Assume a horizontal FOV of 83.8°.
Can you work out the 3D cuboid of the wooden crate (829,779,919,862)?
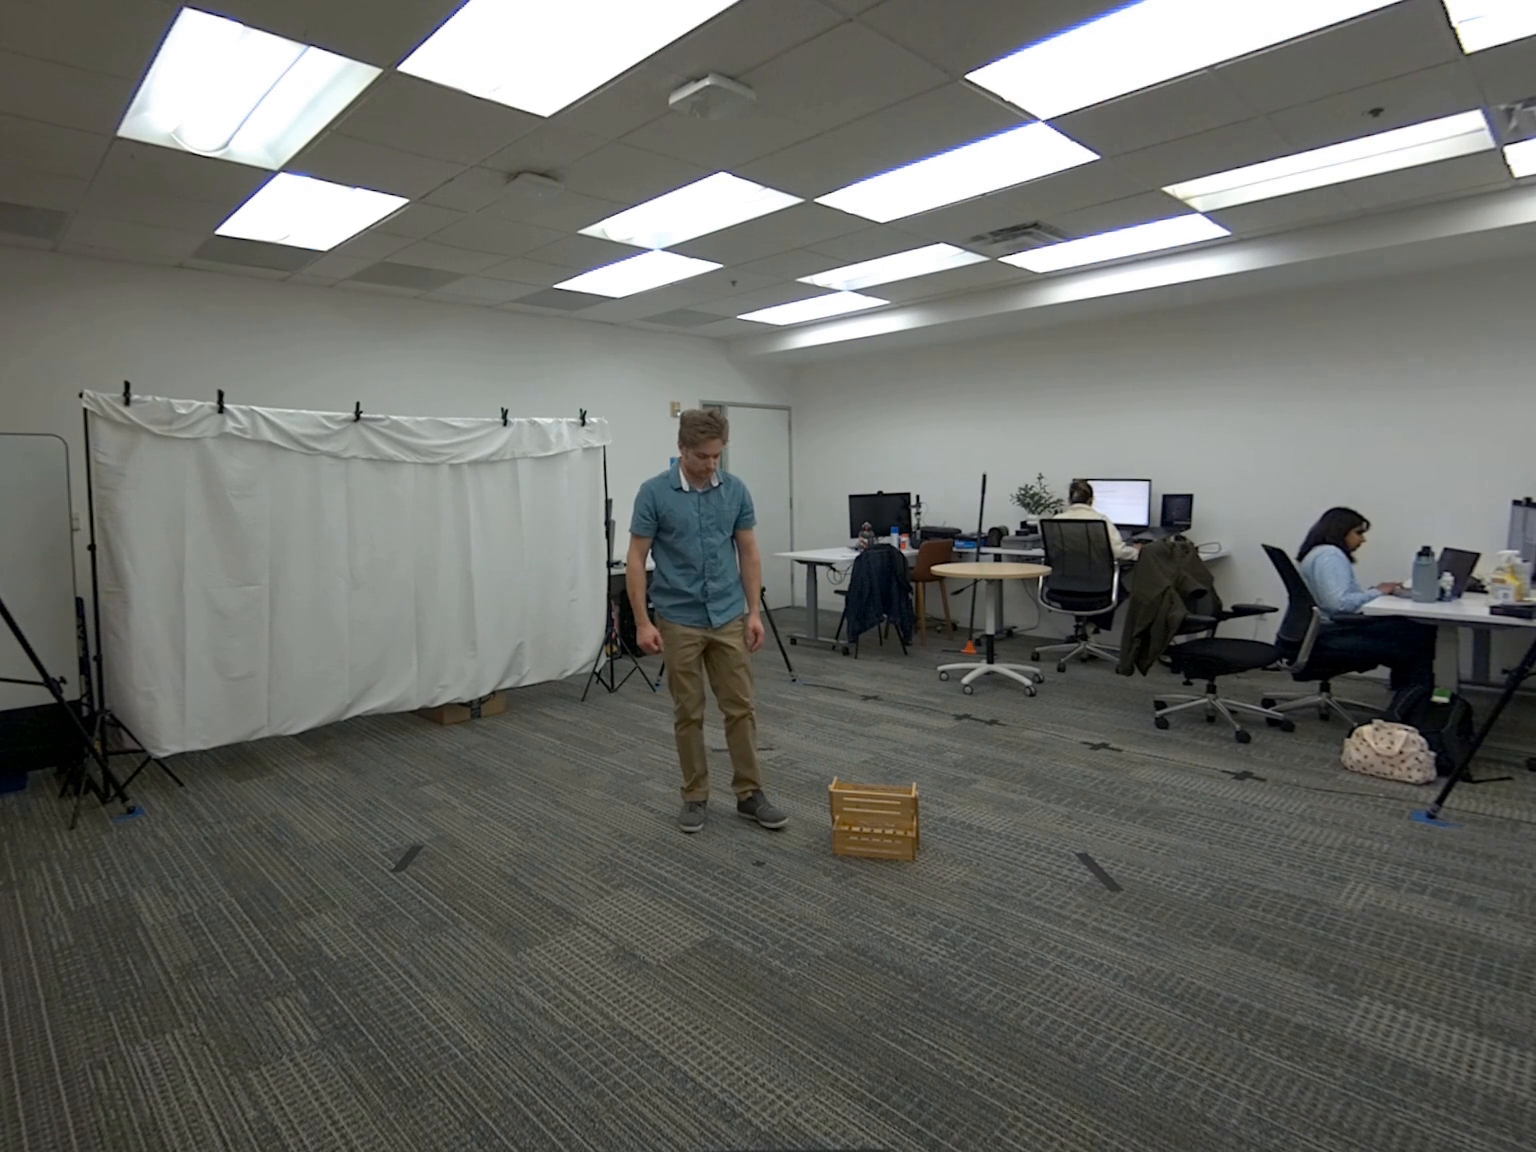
[{"bbox_3d":[0.410,0.892,3.235,0.329,0.272,0.299,0,6,13],"label":"wooden crate"}]
